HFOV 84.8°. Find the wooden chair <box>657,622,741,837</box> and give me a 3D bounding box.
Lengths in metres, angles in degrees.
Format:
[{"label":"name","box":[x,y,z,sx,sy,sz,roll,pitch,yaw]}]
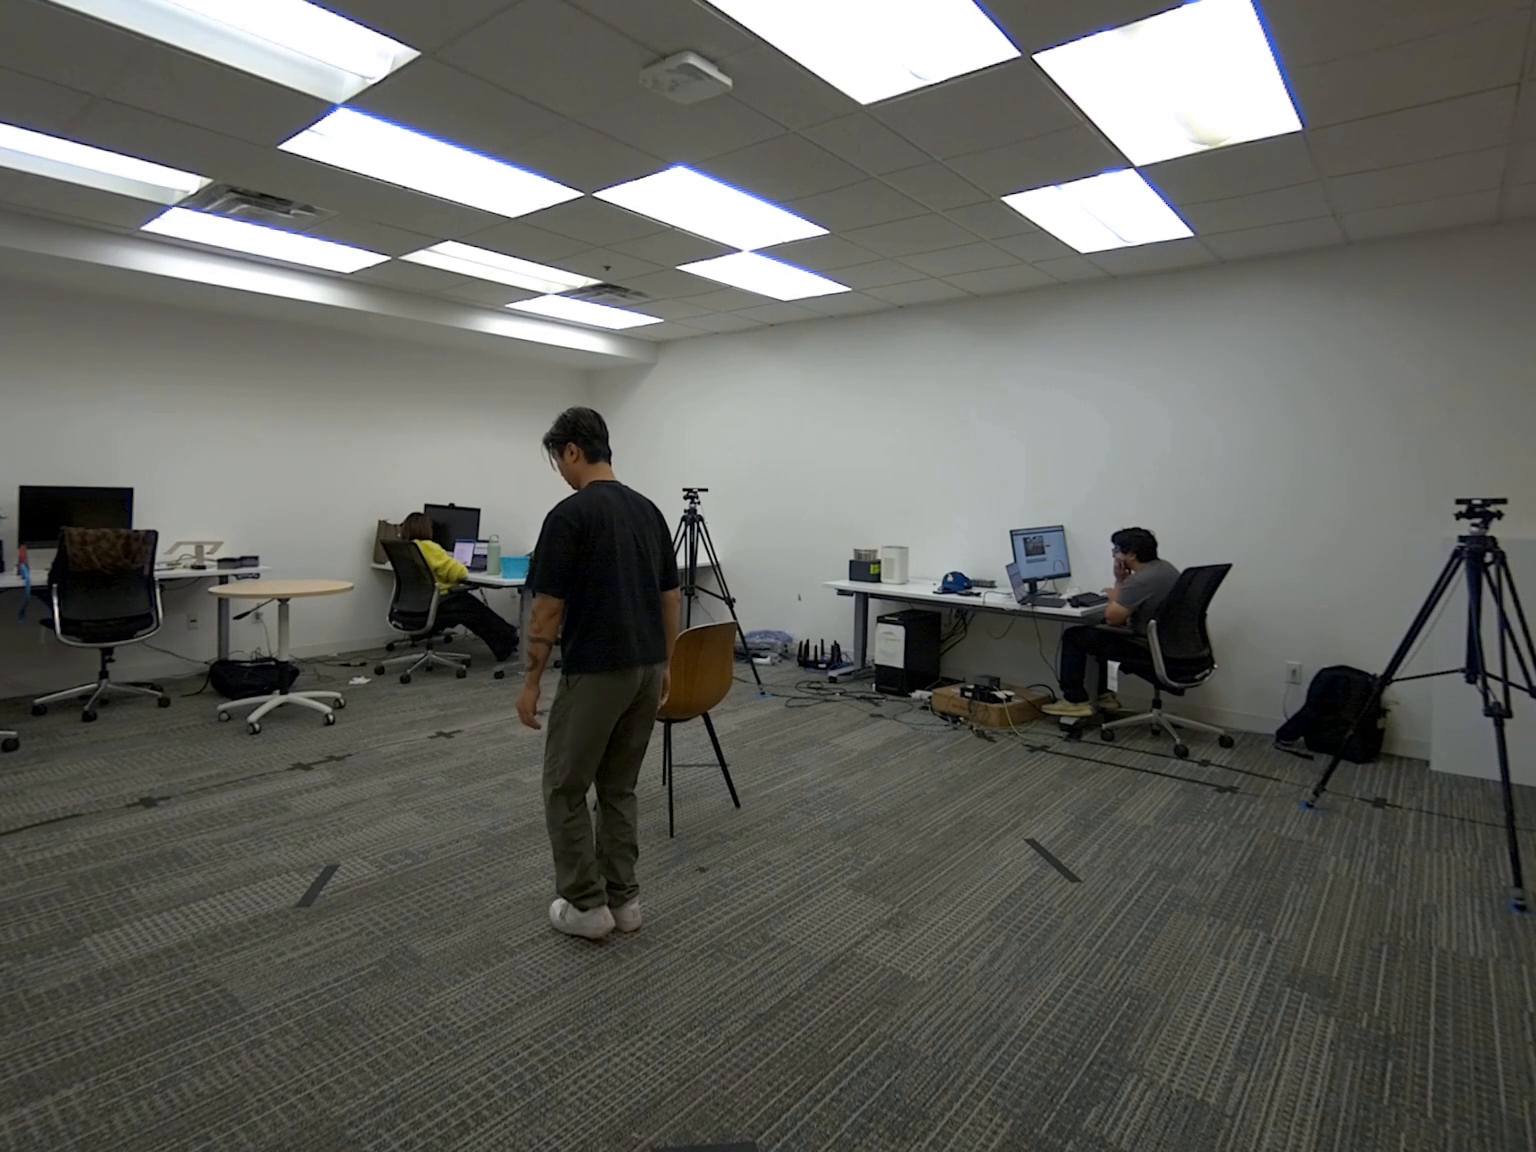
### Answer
[{"label":"wooden chair","box":[-0.444,0.587,3.676,0.541,0.873,0.464,9,7,37]}]
